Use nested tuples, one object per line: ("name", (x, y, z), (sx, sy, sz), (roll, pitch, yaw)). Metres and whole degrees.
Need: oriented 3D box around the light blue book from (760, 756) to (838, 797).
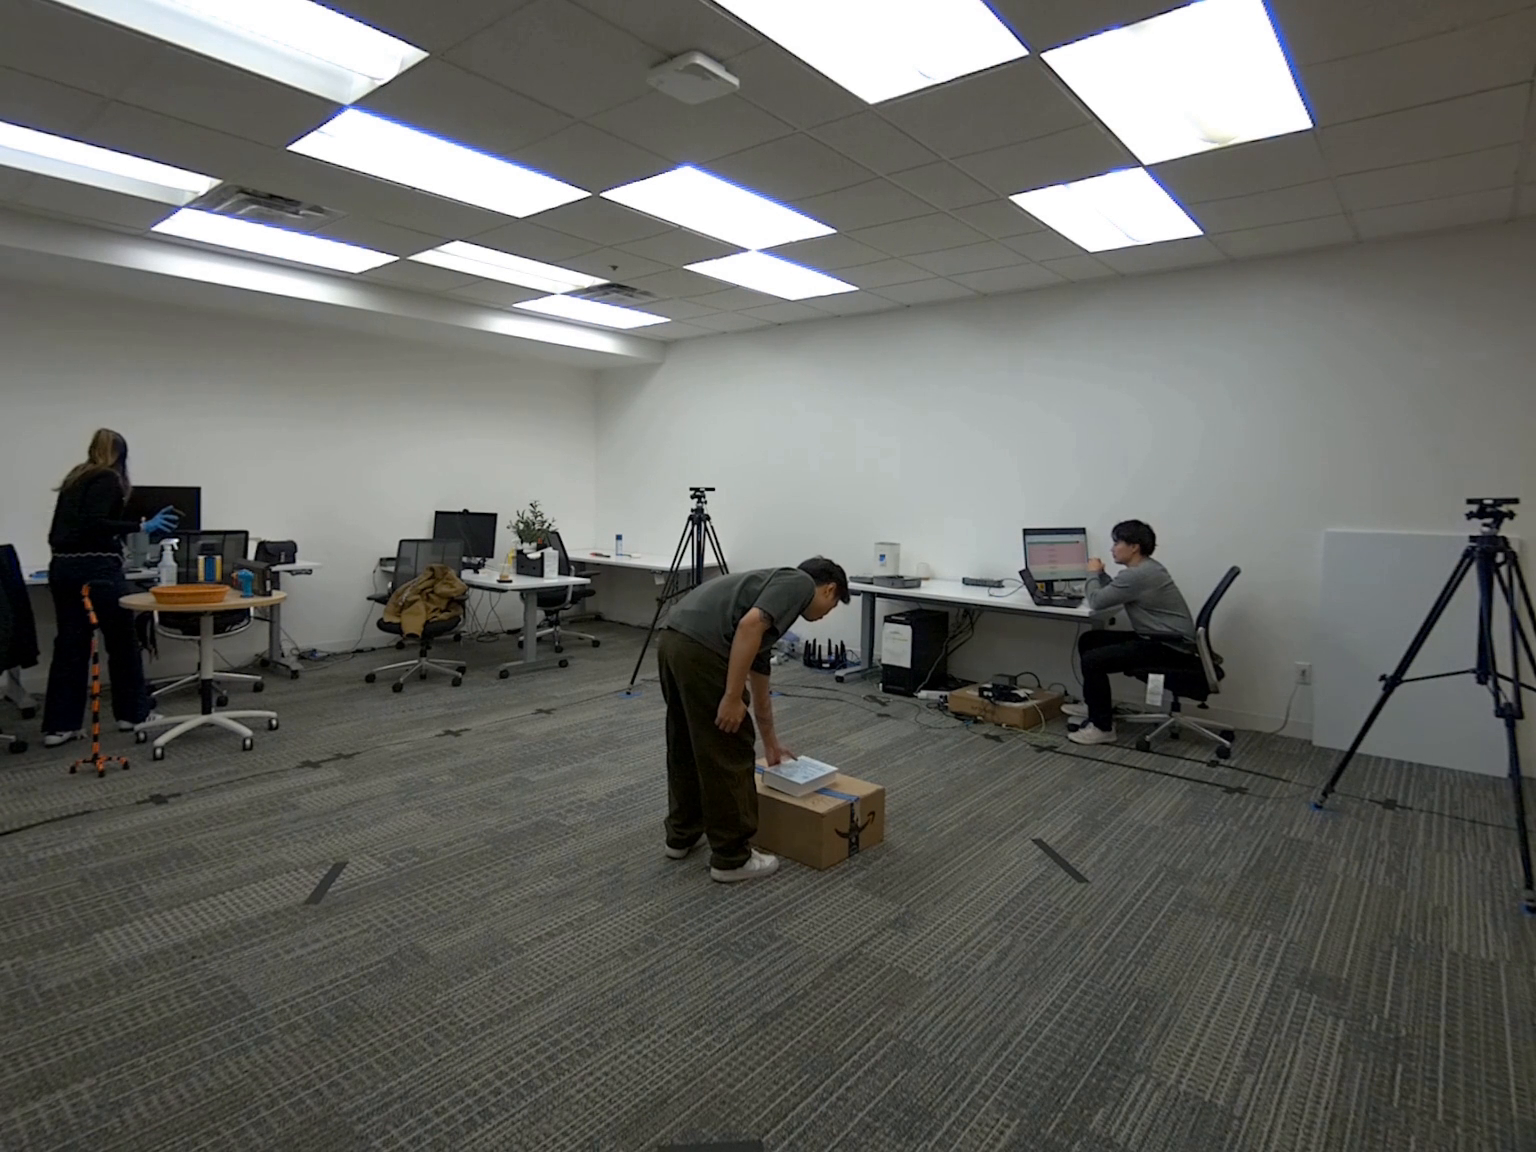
("light blue book", (0.128, 0.798, 3.416), (0.198, 0.059, 0.253), (10, 9, 39))
